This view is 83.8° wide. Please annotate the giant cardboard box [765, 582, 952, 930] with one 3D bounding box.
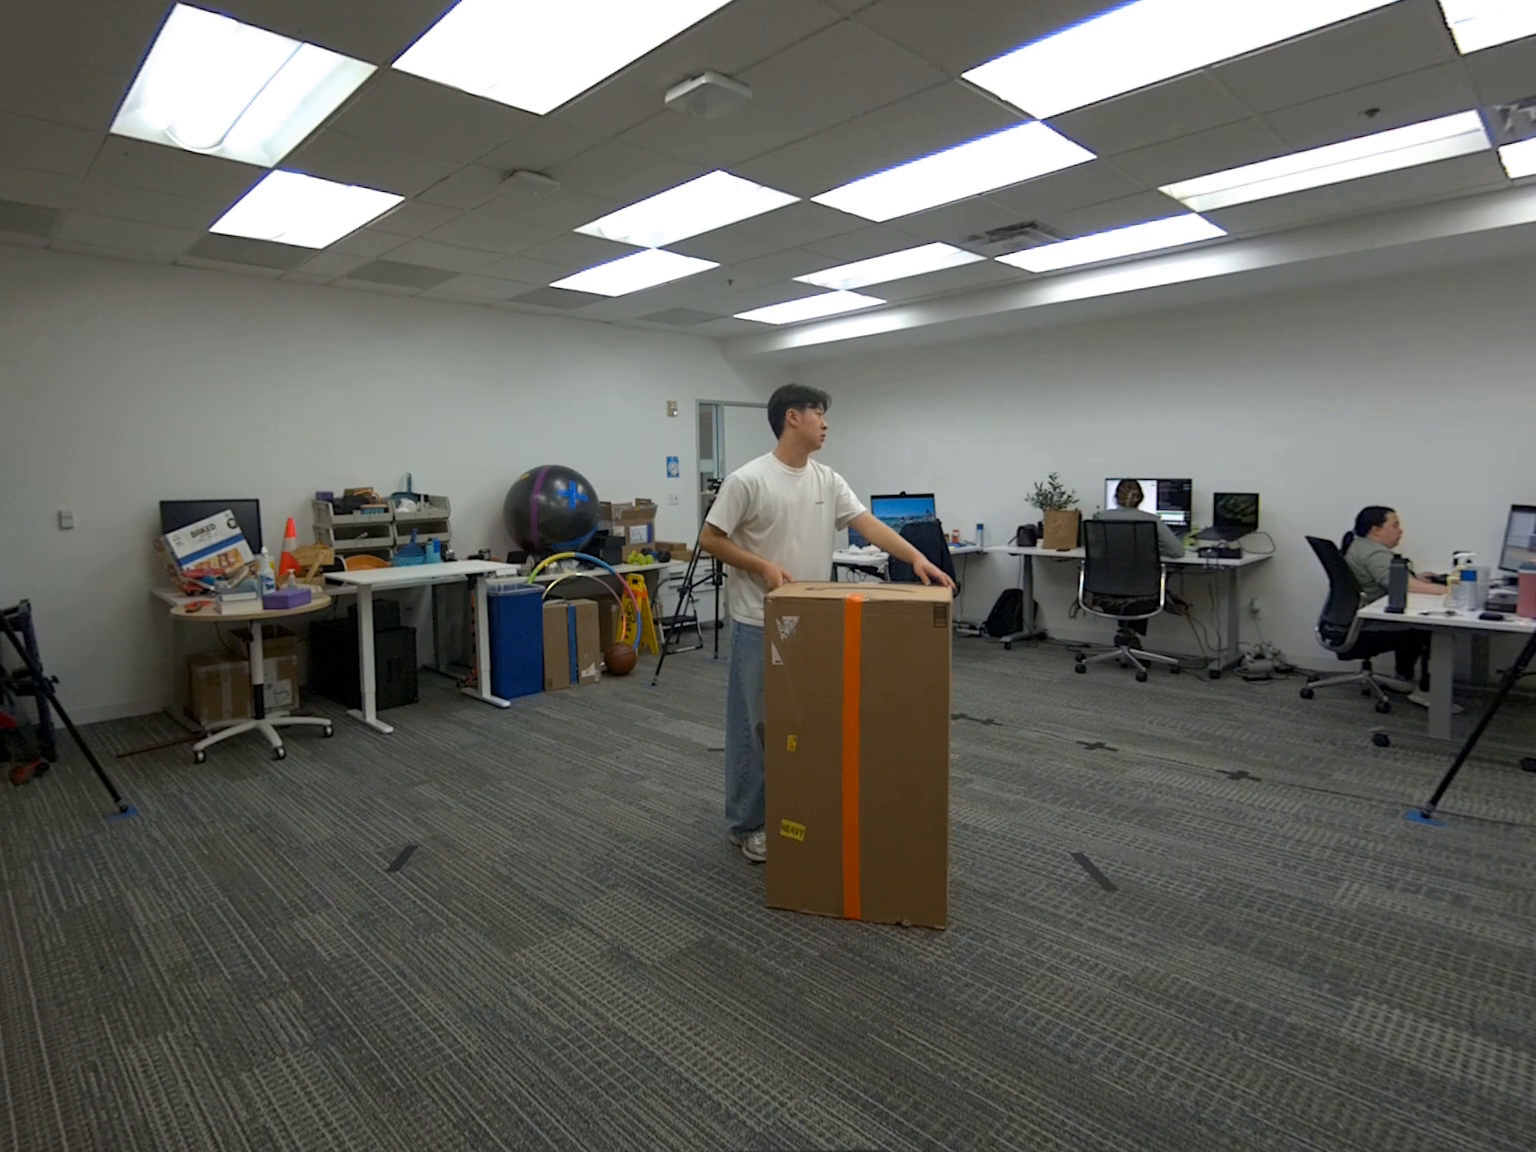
[{"bbox_3d":[0.320,0.553,2.861,0.586,1.023,0.421,0,3,15],"label":"giant cardboard box"}]
